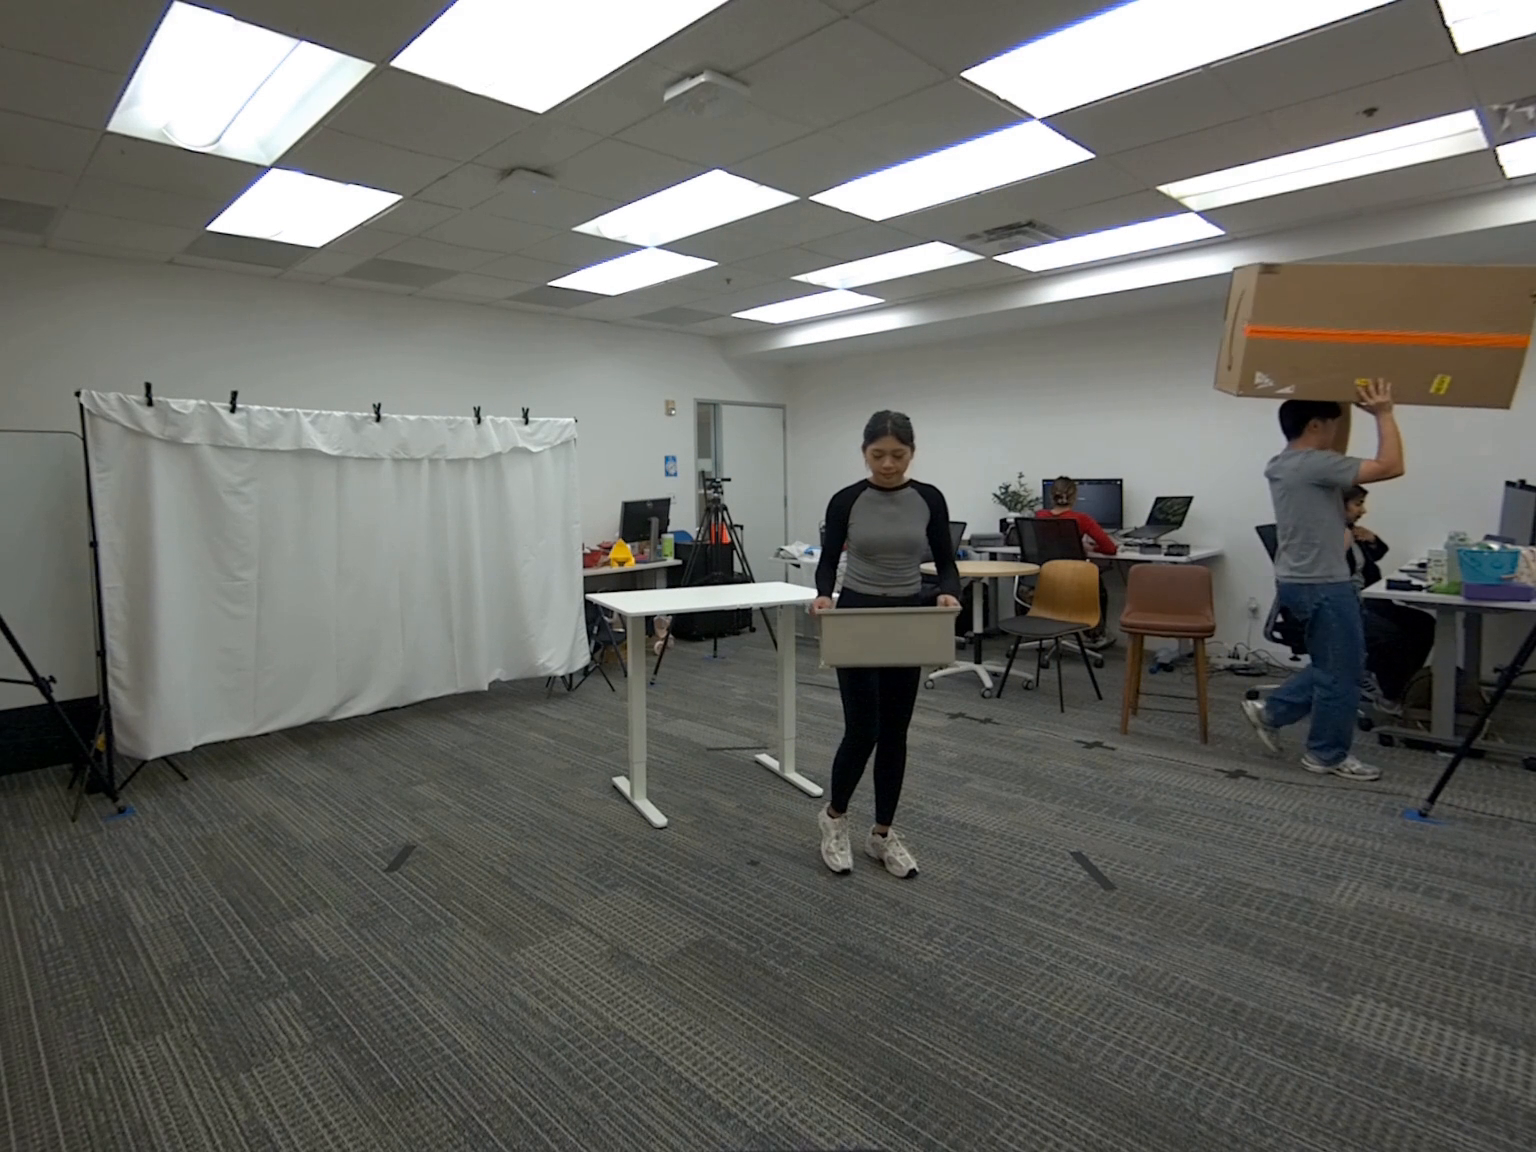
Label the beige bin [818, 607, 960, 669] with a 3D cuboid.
[{"bbox_3d":[0.363,0.184,2.712,0.425,0.189,0.375,-1,2,6],"label":"beige bin"}]
